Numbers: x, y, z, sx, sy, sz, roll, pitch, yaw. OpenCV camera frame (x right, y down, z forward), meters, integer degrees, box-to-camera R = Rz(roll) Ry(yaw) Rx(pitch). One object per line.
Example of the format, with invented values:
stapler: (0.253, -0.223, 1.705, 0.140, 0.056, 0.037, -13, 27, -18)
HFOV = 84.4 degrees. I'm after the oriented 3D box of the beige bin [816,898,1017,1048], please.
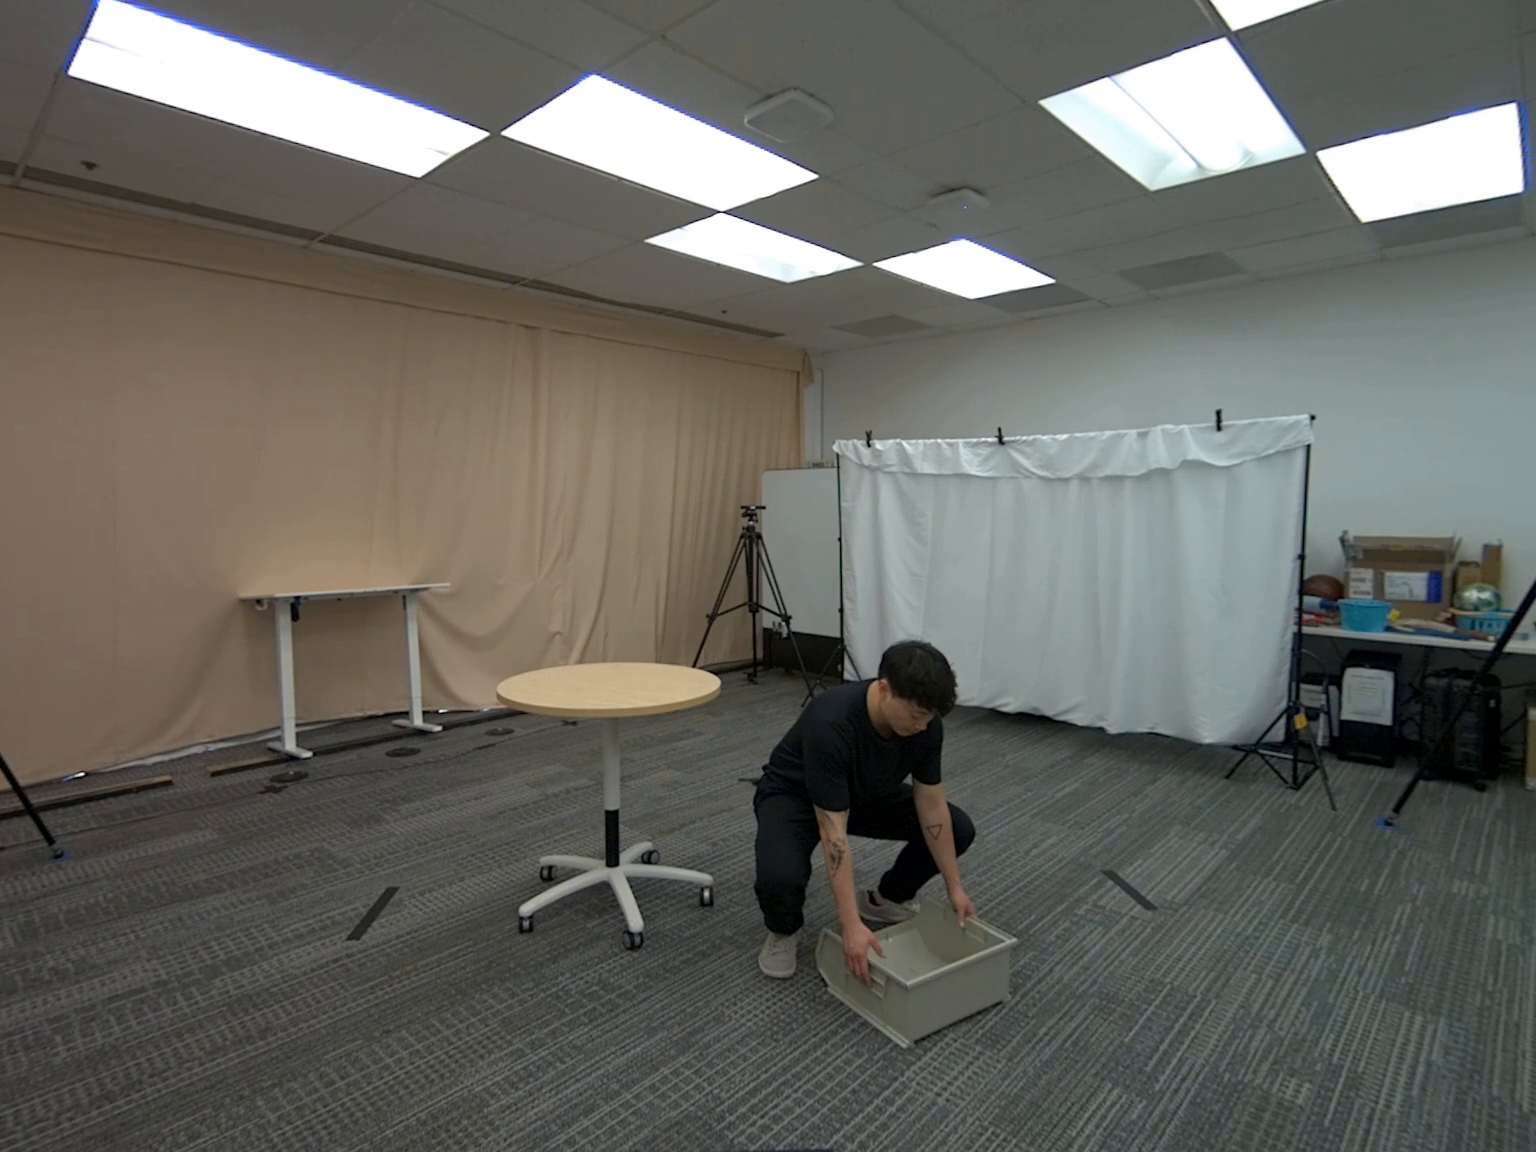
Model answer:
beige bin: (0.421, 1.106, 2.394, 0.410, 0.188, 0.389, -3, 6, -34)
